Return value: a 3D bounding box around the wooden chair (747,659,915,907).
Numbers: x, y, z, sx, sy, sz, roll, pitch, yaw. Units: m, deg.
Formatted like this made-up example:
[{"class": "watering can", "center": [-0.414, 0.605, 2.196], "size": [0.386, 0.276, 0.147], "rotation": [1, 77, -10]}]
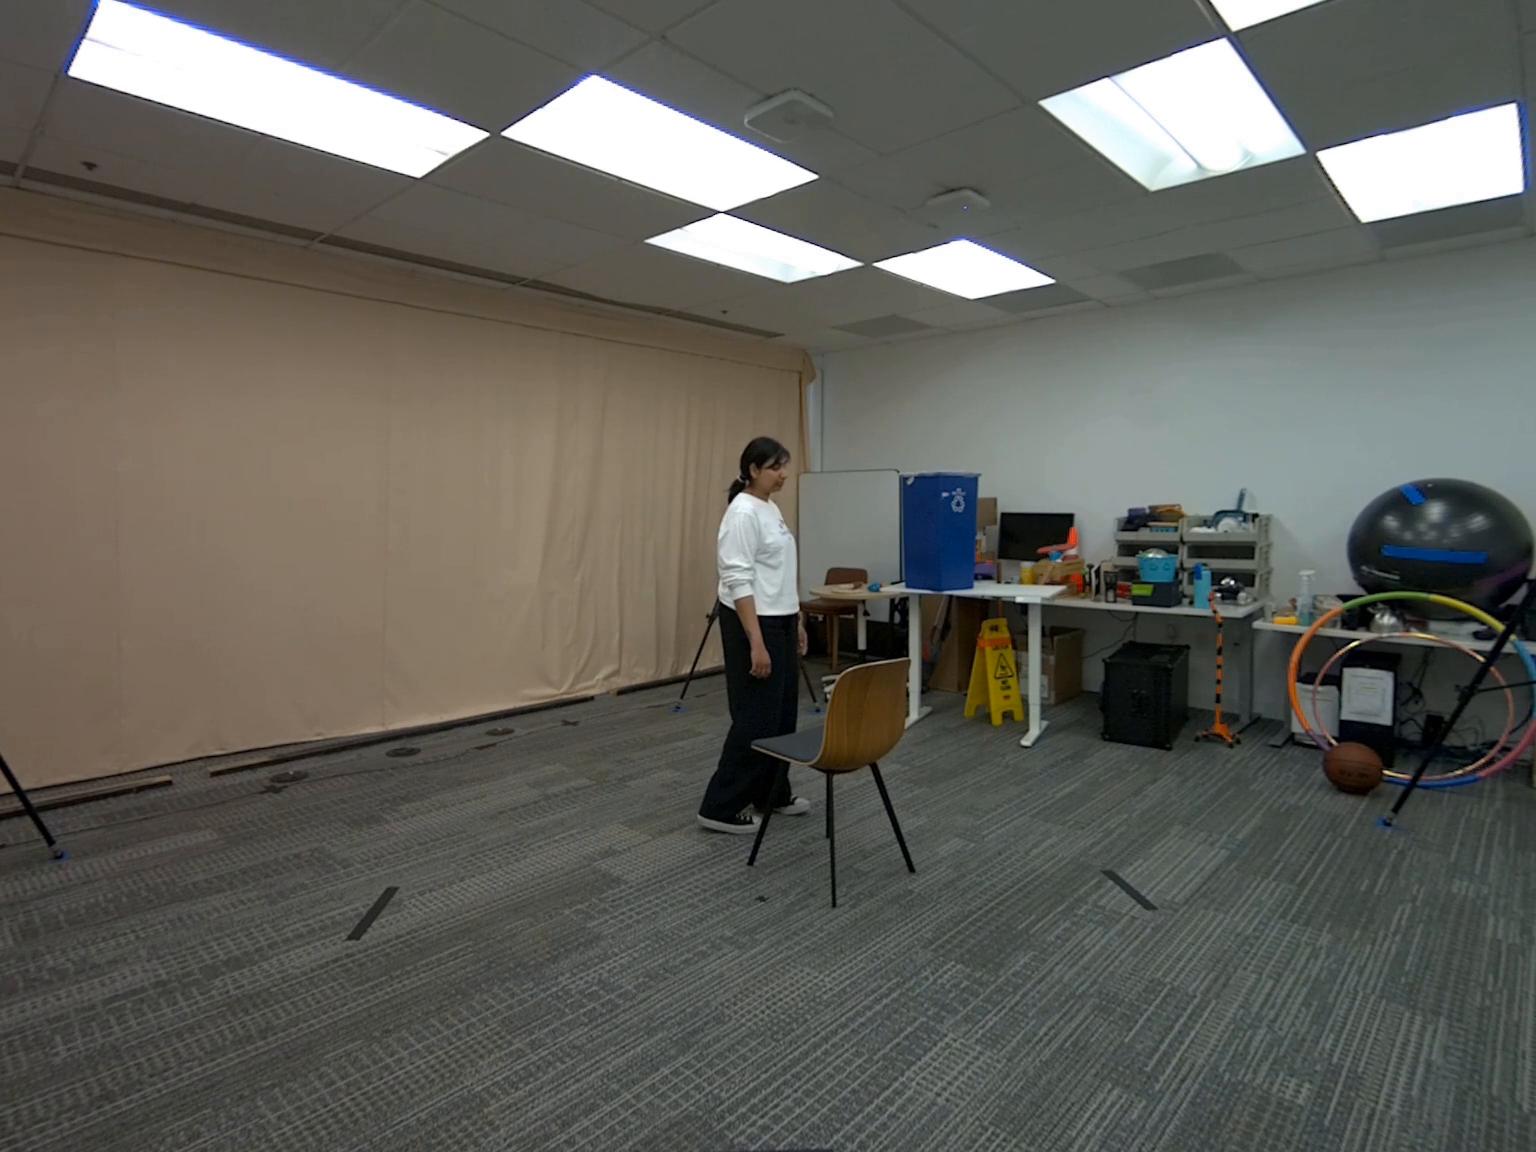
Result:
[{"class": "wooden chair", "center": [0.243, 0.696, 3.201], "size": [0.463, 0.874, 0.541], "rotation": [-3, 9, -41]}]
